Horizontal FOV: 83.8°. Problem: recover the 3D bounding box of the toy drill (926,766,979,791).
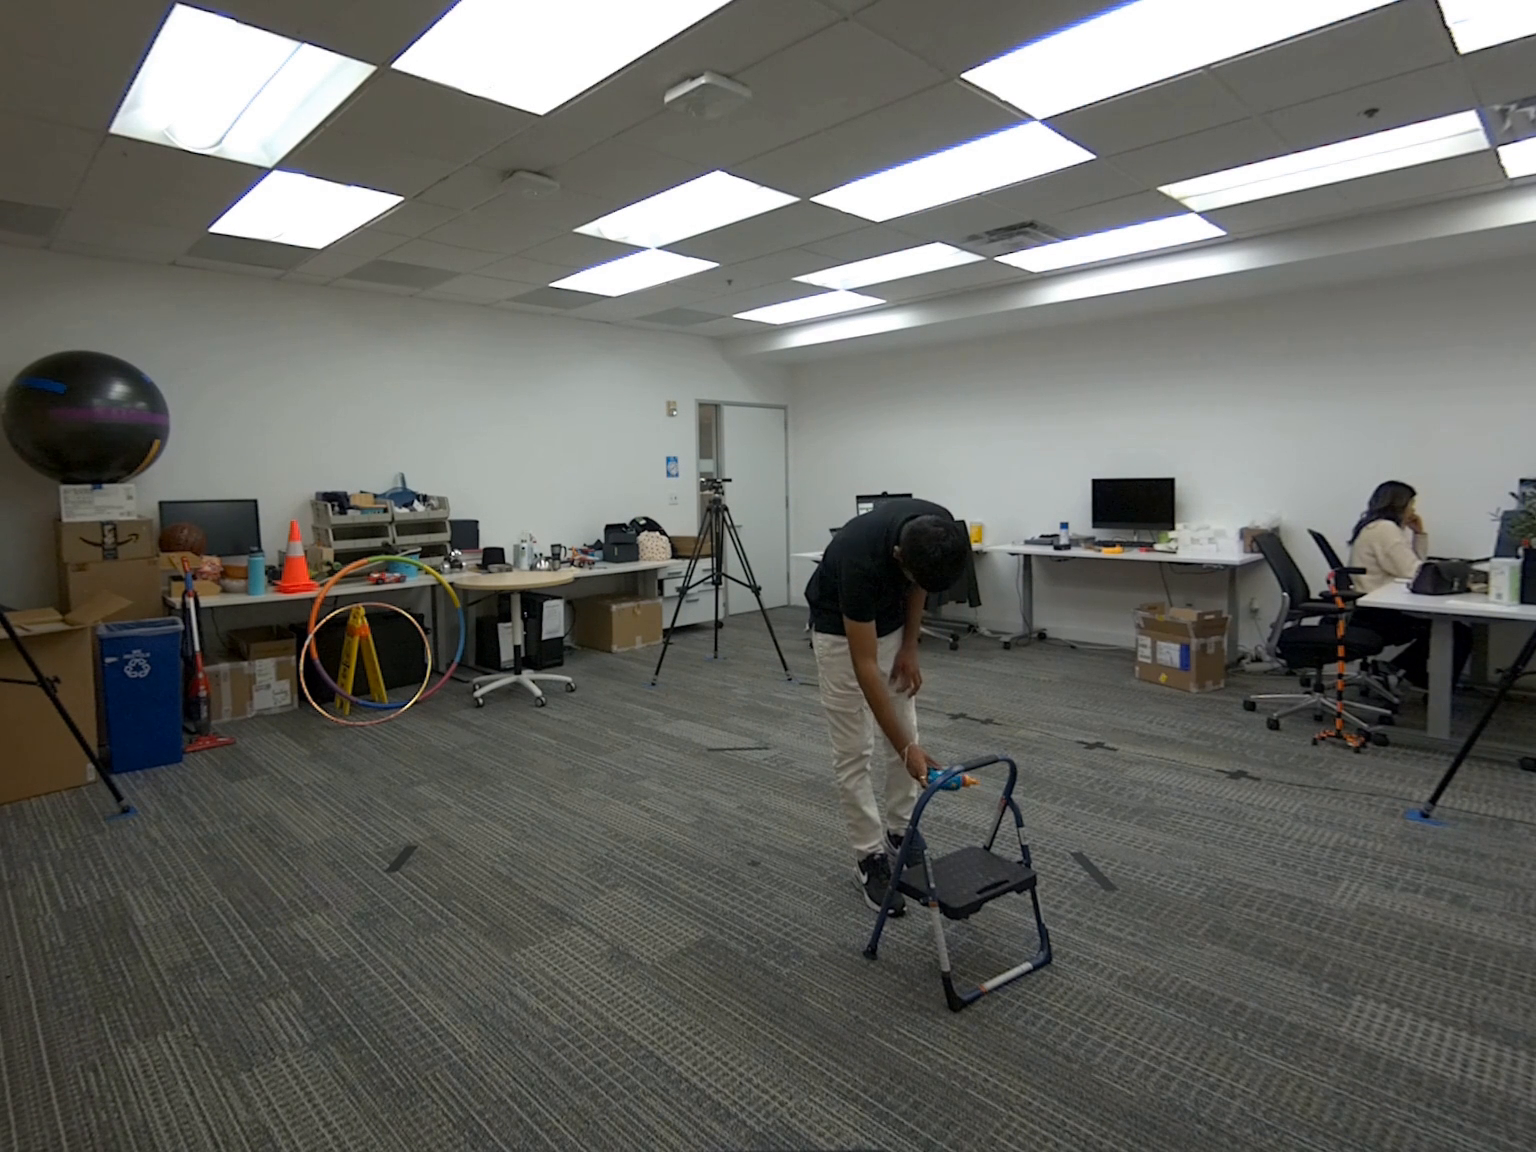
[{"bbox_3d":[0.521,0.582,2.530,0.167,0.061,0.149,5,10,-16],"label":"toy drill"}]
